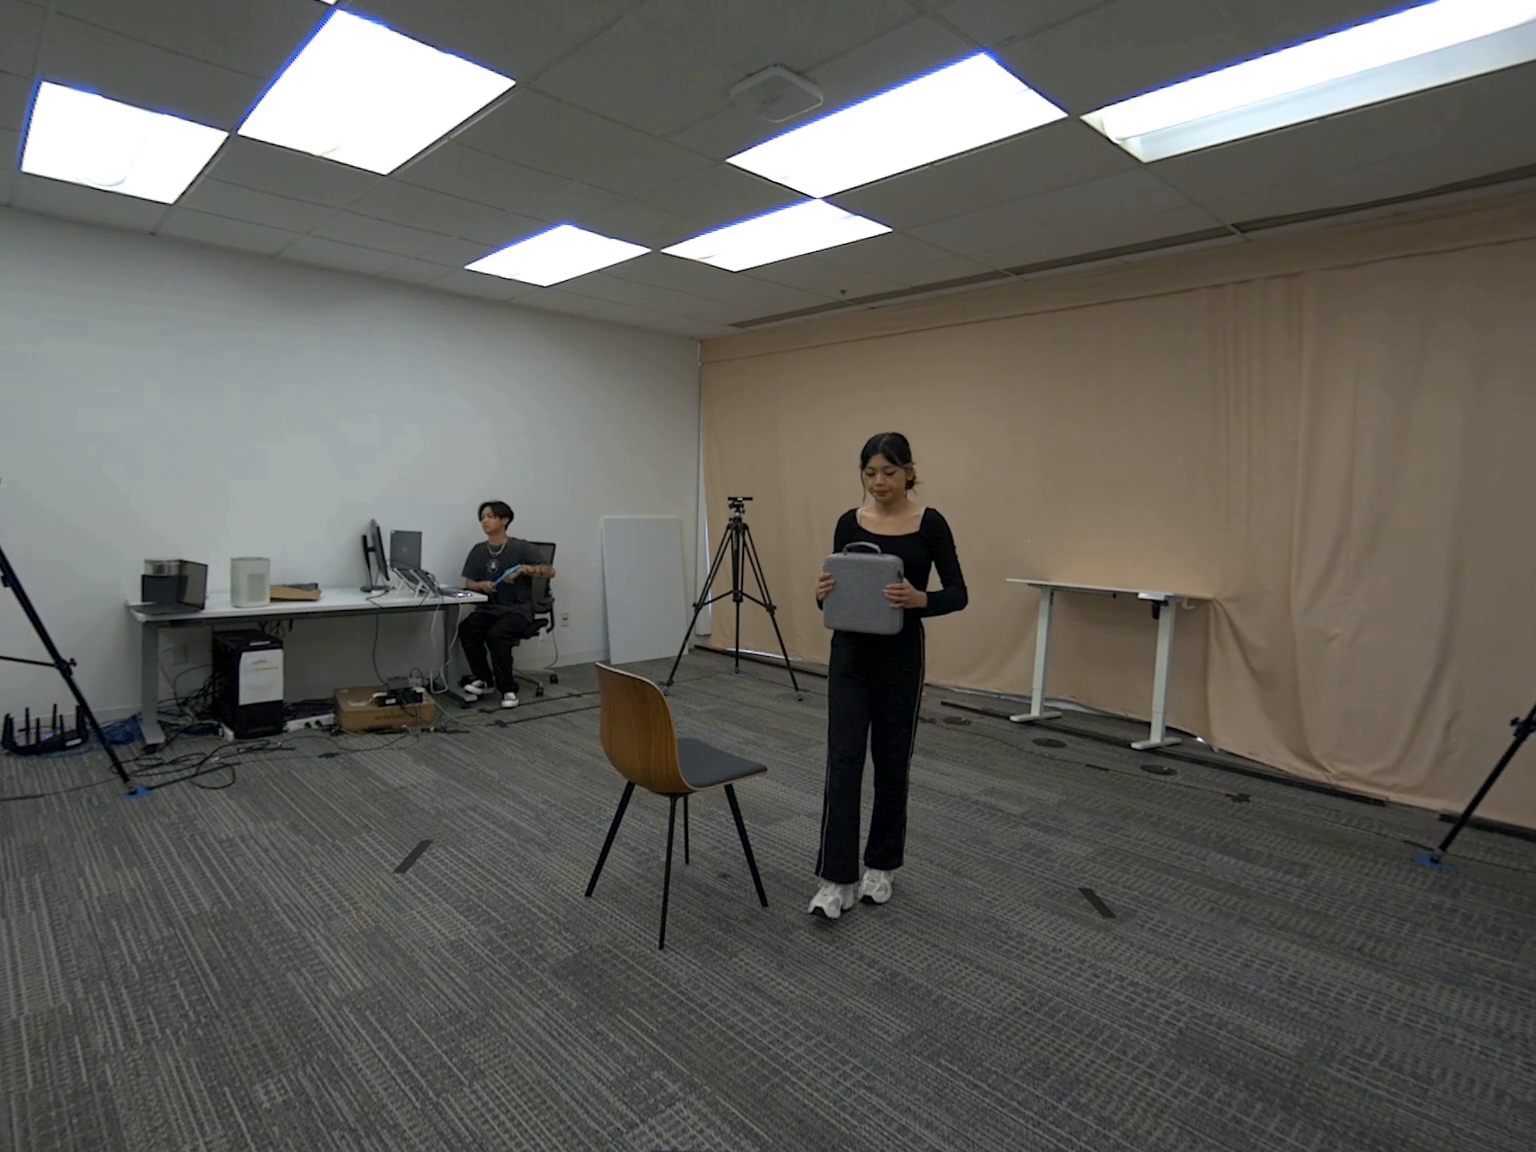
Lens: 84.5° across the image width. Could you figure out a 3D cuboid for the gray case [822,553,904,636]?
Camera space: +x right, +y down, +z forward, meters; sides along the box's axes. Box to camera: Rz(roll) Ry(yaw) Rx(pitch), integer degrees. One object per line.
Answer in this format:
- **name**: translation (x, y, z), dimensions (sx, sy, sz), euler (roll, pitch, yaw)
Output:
- **gray case**: translation (0.305, 0.056, 2.733), dimensions (0.262, 0.259, 0.102), euler (3, 6, 30)
